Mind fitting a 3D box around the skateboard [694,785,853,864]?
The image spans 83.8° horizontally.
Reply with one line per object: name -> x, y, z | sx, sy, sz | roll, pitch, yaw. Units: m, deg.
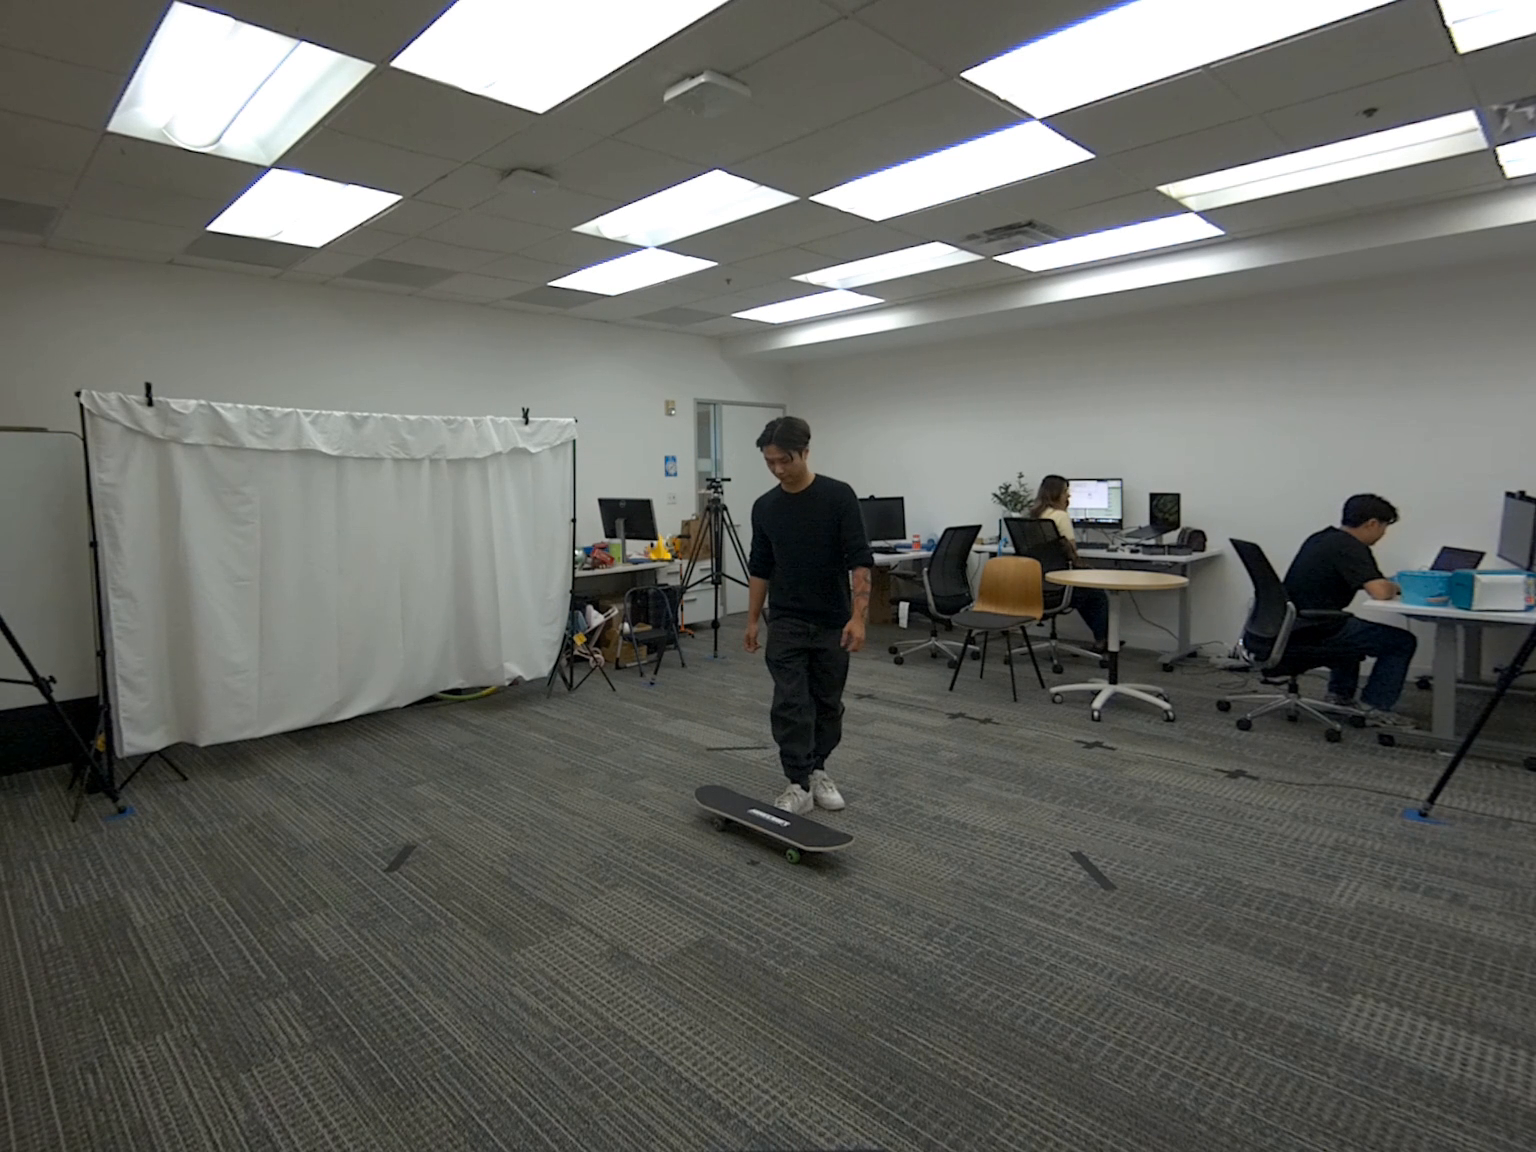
skateboard -> 0.006, 0.963, 3.299 | 0.188, 0.110, 0.810 | -6, 8, -43
